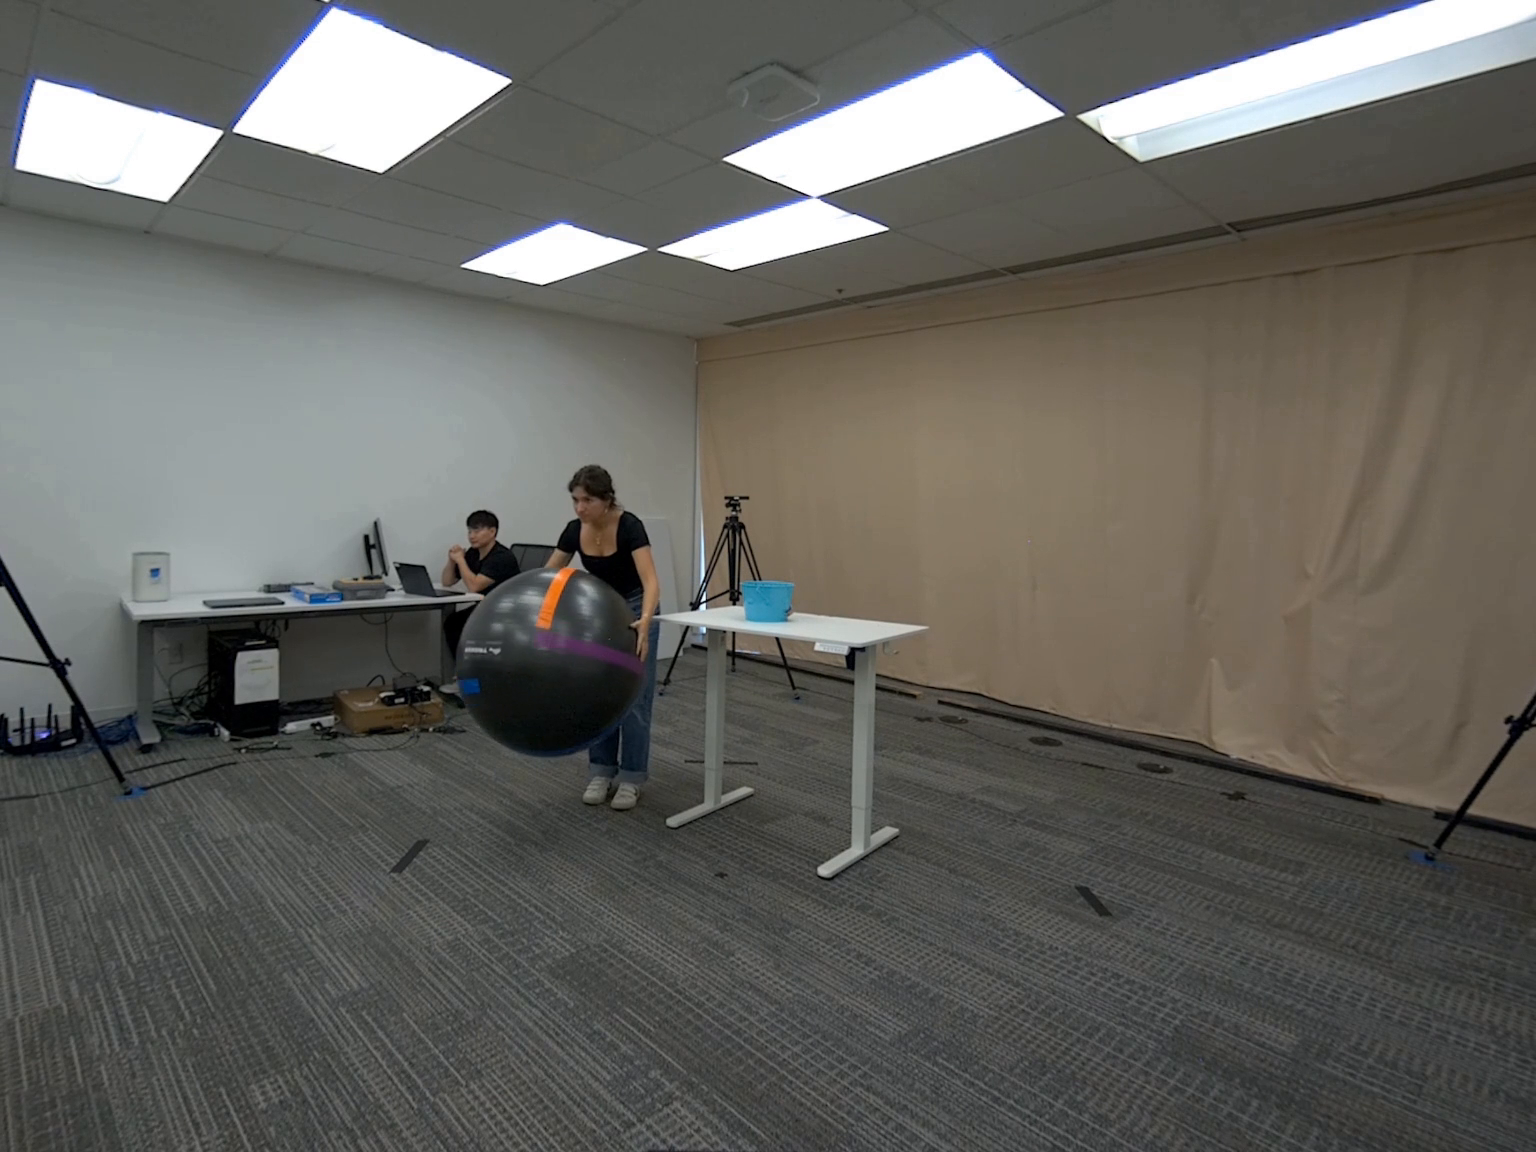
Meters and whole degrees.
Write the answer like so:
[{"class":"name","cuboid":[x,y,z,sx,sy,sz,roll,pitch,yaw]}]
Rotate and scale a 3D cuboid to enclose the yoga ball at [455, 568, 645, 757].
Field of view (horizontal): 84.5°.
[{"class":"yoga ball","cuboid":[-0.904,0.350,3.419,0.757,0.756,0.761,1,4,-1]}]
